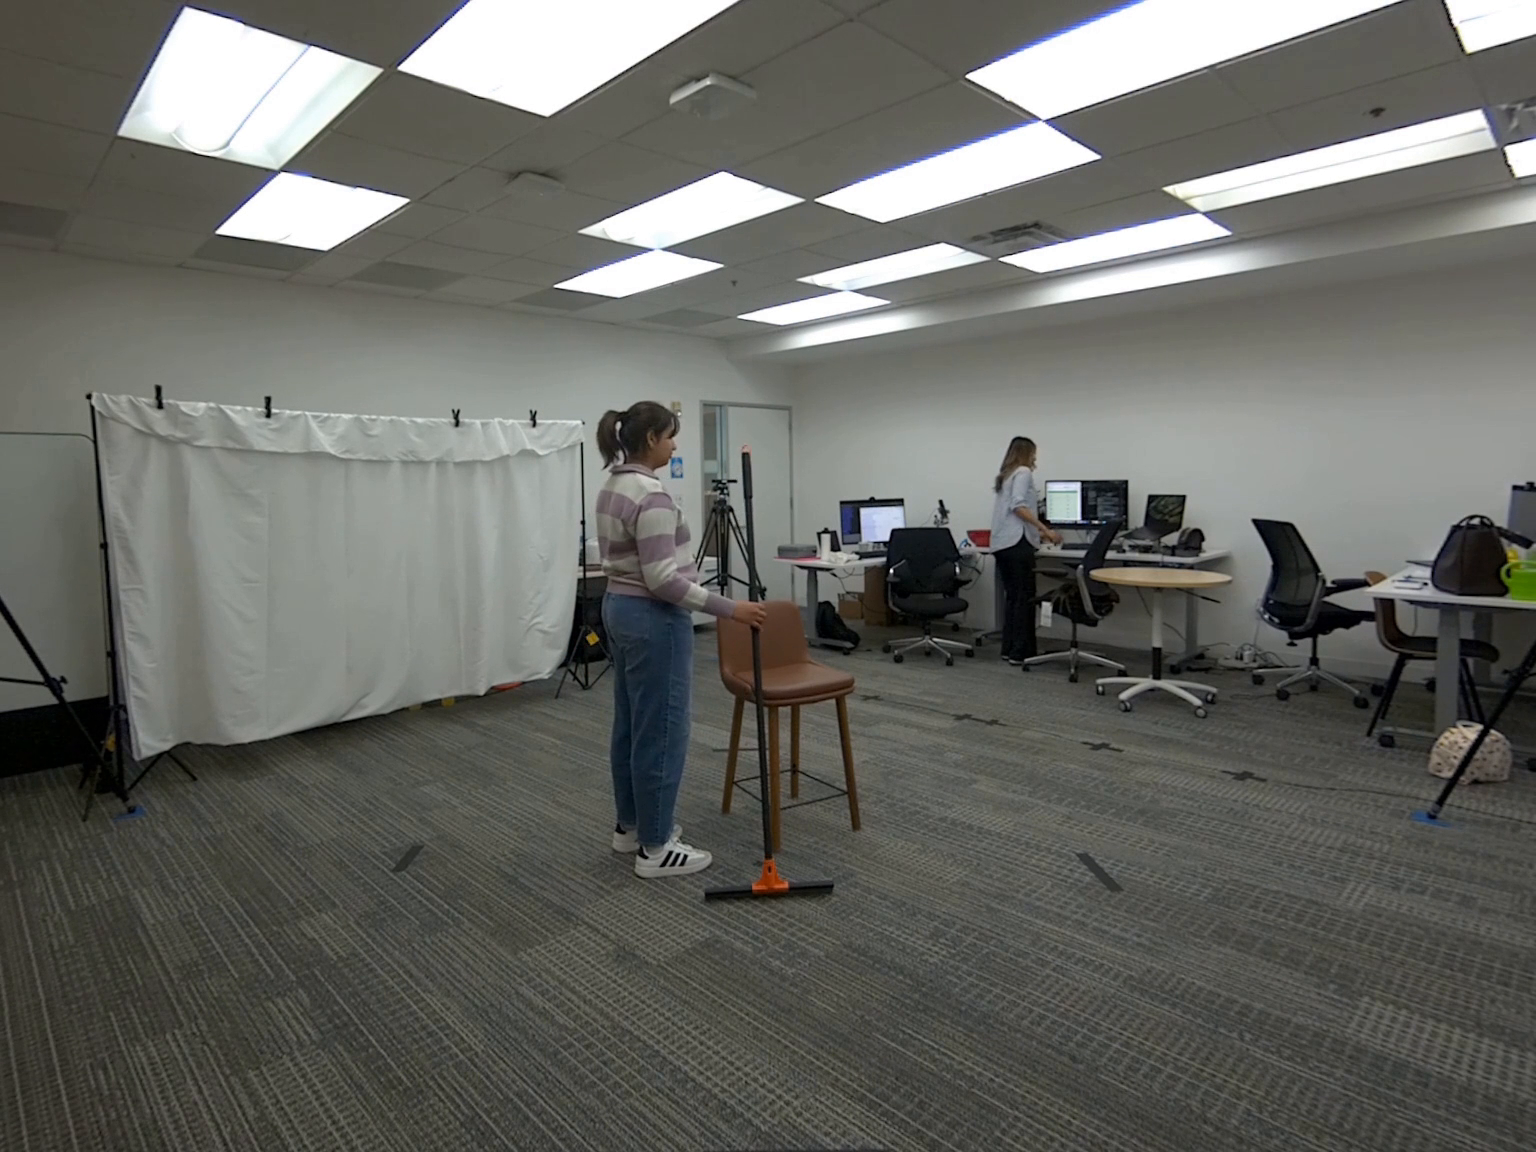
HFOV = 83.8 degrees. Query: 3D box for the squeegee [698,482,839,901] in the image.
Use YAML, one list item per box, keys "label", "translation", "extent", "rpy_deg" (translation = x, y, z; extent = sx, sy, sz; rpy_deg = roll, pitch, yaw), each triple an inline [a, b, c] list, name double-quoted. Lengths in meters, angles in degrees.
- label: "squeegee"
  translation: [-0.009, 0.312, 2.956]
  extent: [0.438, 1.547, 0.052]
  rpy_deg: [1, -7, 1]
